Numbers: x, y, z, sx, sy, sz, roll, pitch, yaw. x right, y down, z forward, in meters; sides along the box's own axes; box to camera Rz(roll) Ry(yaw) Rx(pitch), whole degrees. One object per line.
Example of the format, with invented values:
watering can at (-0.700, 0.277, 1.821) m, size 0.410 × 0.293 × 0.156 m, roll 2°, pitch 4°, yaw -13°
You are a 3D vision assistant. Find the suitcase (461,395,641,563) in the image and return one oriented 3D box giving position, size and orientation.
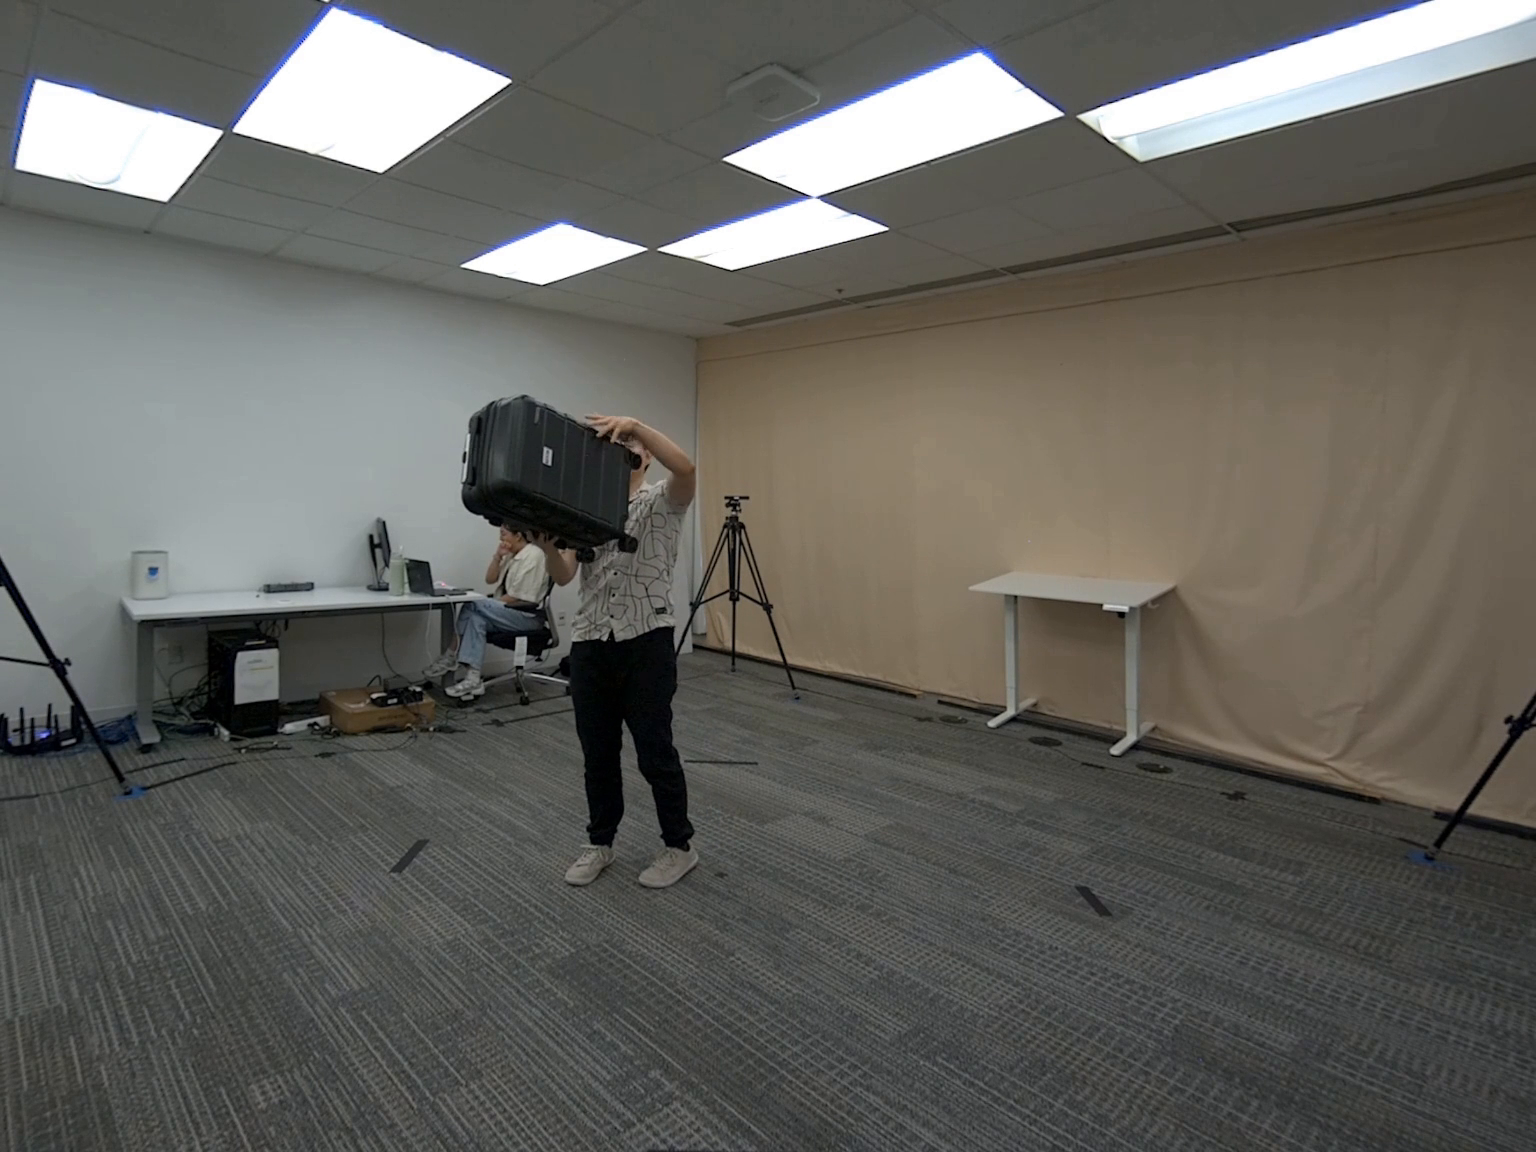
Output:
suitcase at (-0.673, -0.305, 2.609) m, size 0.252 × 0.380 × 0.532 m, roll -12°, pitch -23°, yaw 34°
